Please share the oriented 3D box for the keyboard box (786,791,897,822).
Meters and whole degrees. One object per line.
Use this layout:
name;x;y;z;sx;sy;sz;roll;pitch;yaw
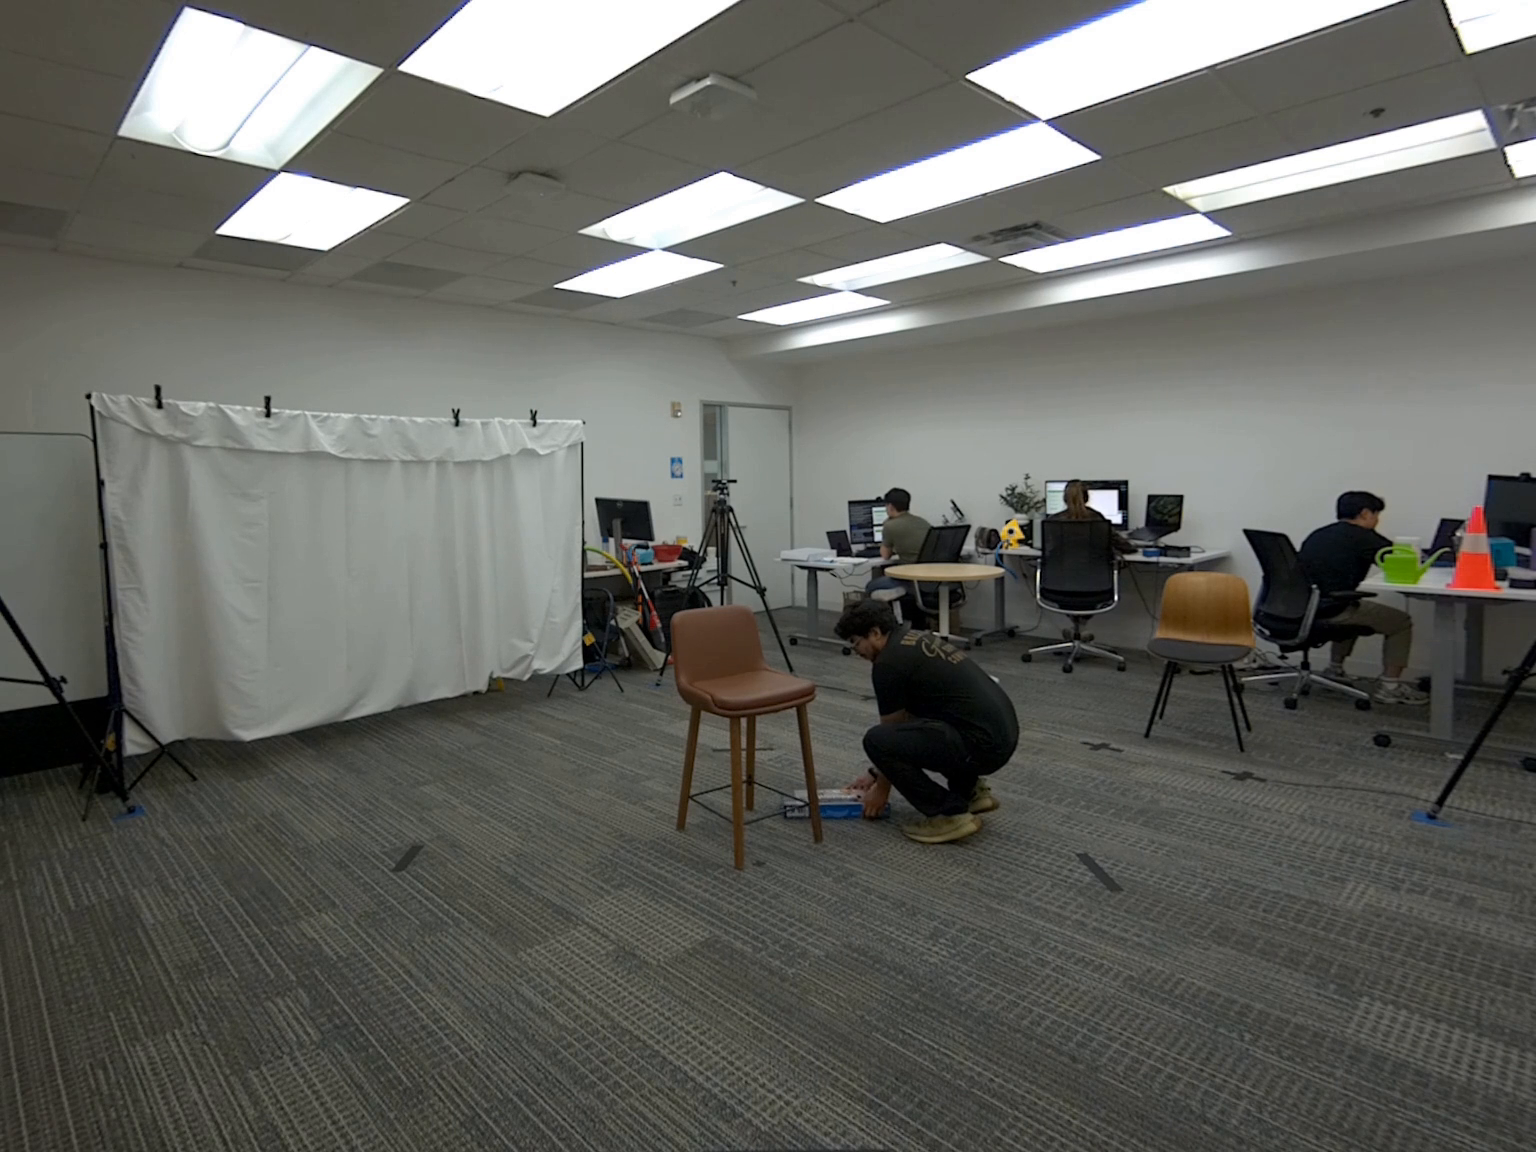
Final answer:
keyboard box;0.302;0.967;3.607;0.436;0.059;0.177;0;6;-1
